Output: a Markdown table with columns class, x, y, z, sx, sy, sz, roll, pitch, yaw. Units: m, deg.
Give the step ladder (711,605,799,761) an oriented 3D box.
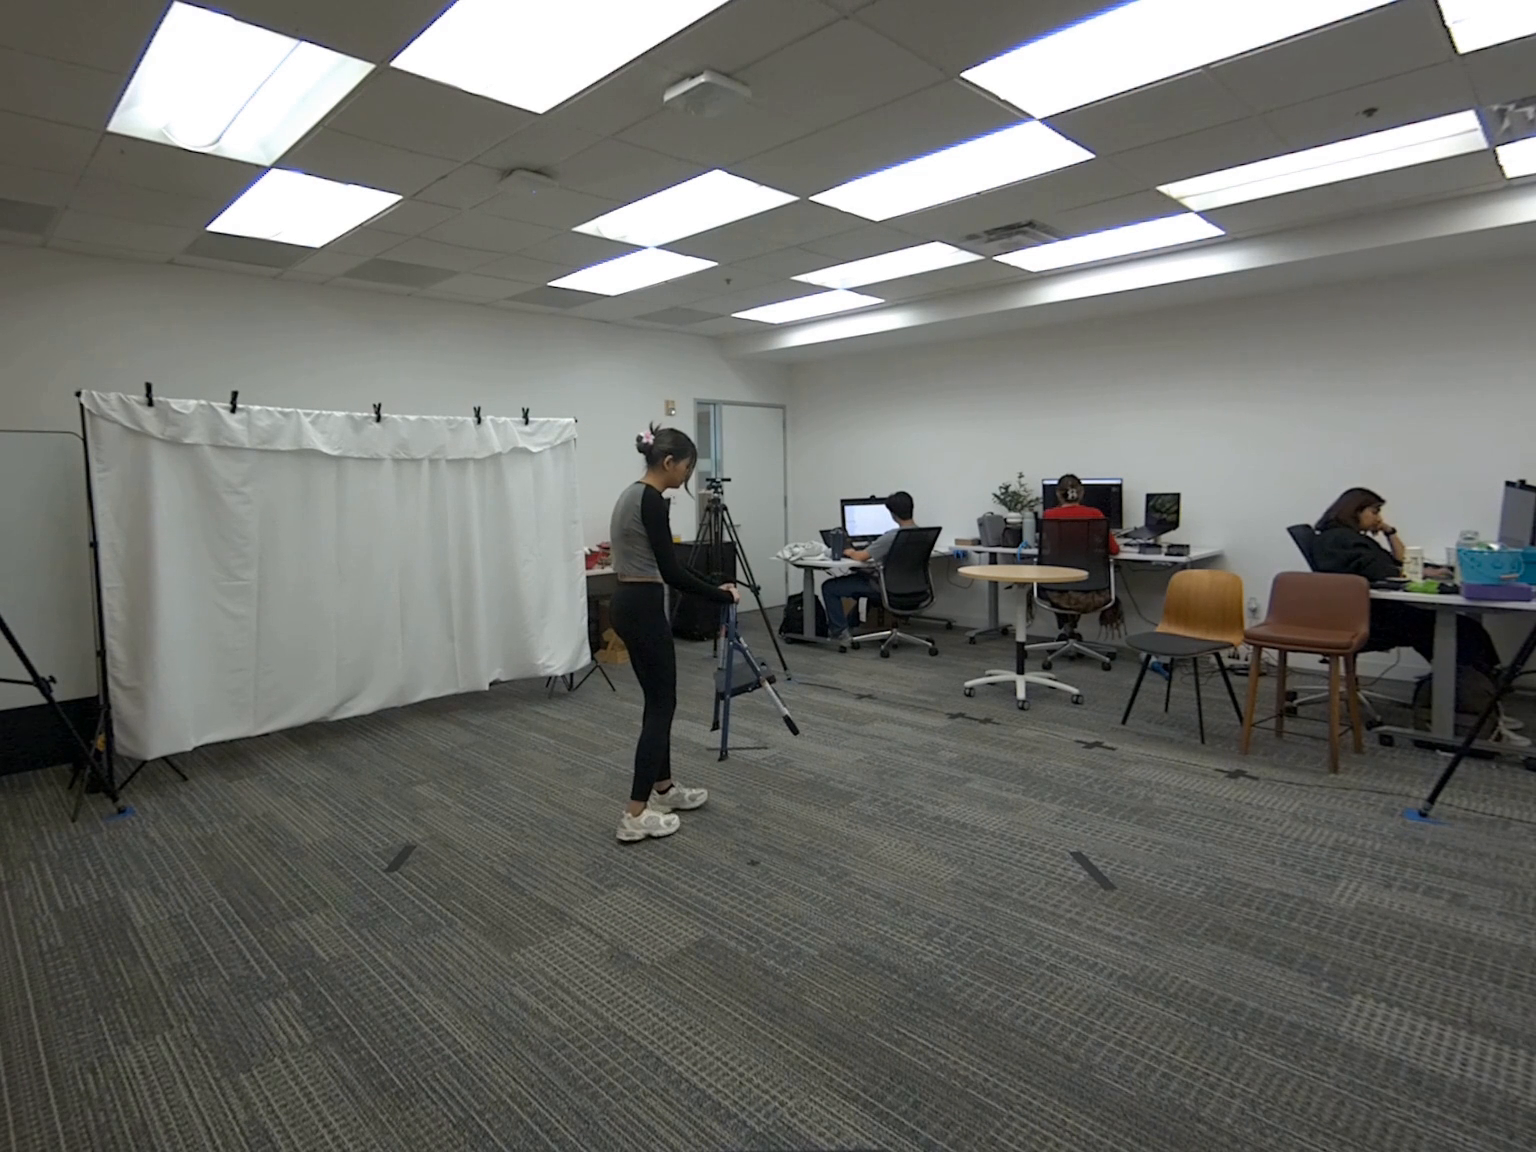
| class | x | y | z | sx | sy | sz | roll | pitch | yaw |
| --- | --- | --- | --- | --- | --- | --- | --- | --- | --- |
| step ladder | -0.143 | 0.387 | 3.624 | 0.348 | 0.602 | 0.435 | -17 | 6 | -7 |
